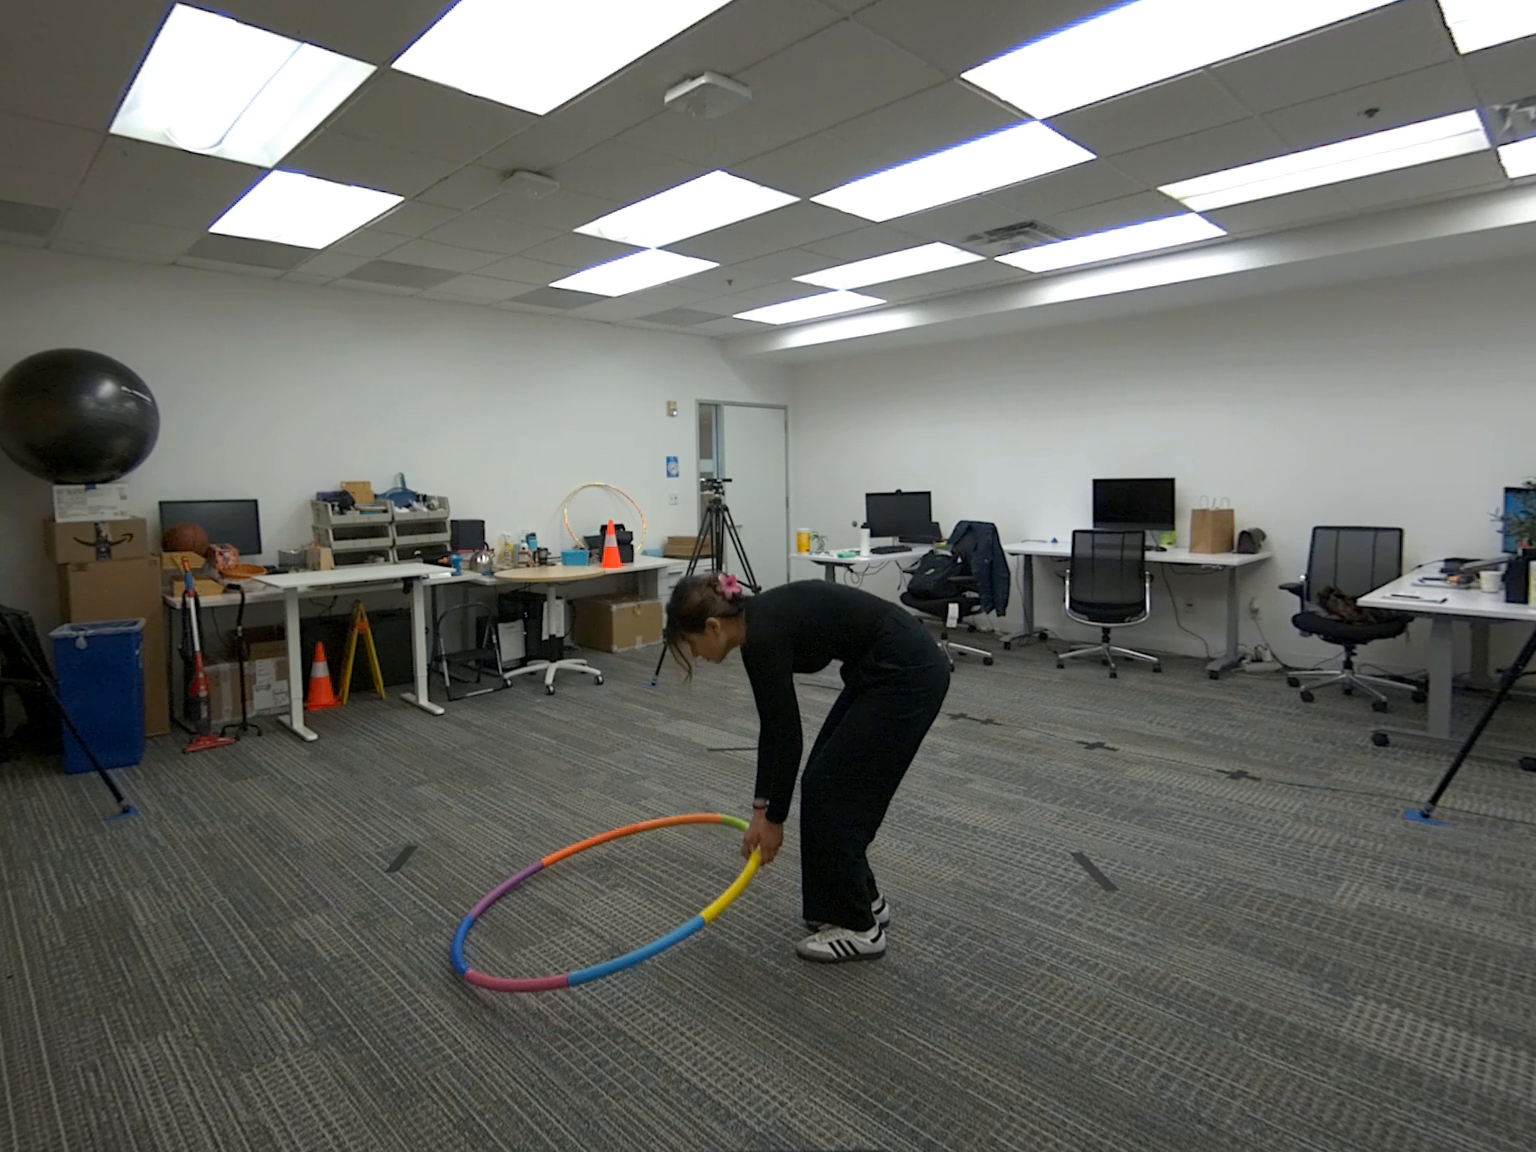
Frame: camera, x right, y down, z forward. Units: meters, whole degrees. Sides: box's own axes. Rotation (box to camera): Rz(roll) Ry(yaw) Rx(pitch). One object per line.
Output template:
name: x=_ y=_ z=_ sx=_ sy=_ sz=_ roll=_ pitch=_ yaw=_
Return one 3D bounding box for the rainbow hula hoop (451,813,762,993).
rainbow hula hoop: x=-0.494 y=0.968 z=2.652 sx=0.978 sy=0.035 sz=0.983 roll=-16 pitch=6 yaw=-1
